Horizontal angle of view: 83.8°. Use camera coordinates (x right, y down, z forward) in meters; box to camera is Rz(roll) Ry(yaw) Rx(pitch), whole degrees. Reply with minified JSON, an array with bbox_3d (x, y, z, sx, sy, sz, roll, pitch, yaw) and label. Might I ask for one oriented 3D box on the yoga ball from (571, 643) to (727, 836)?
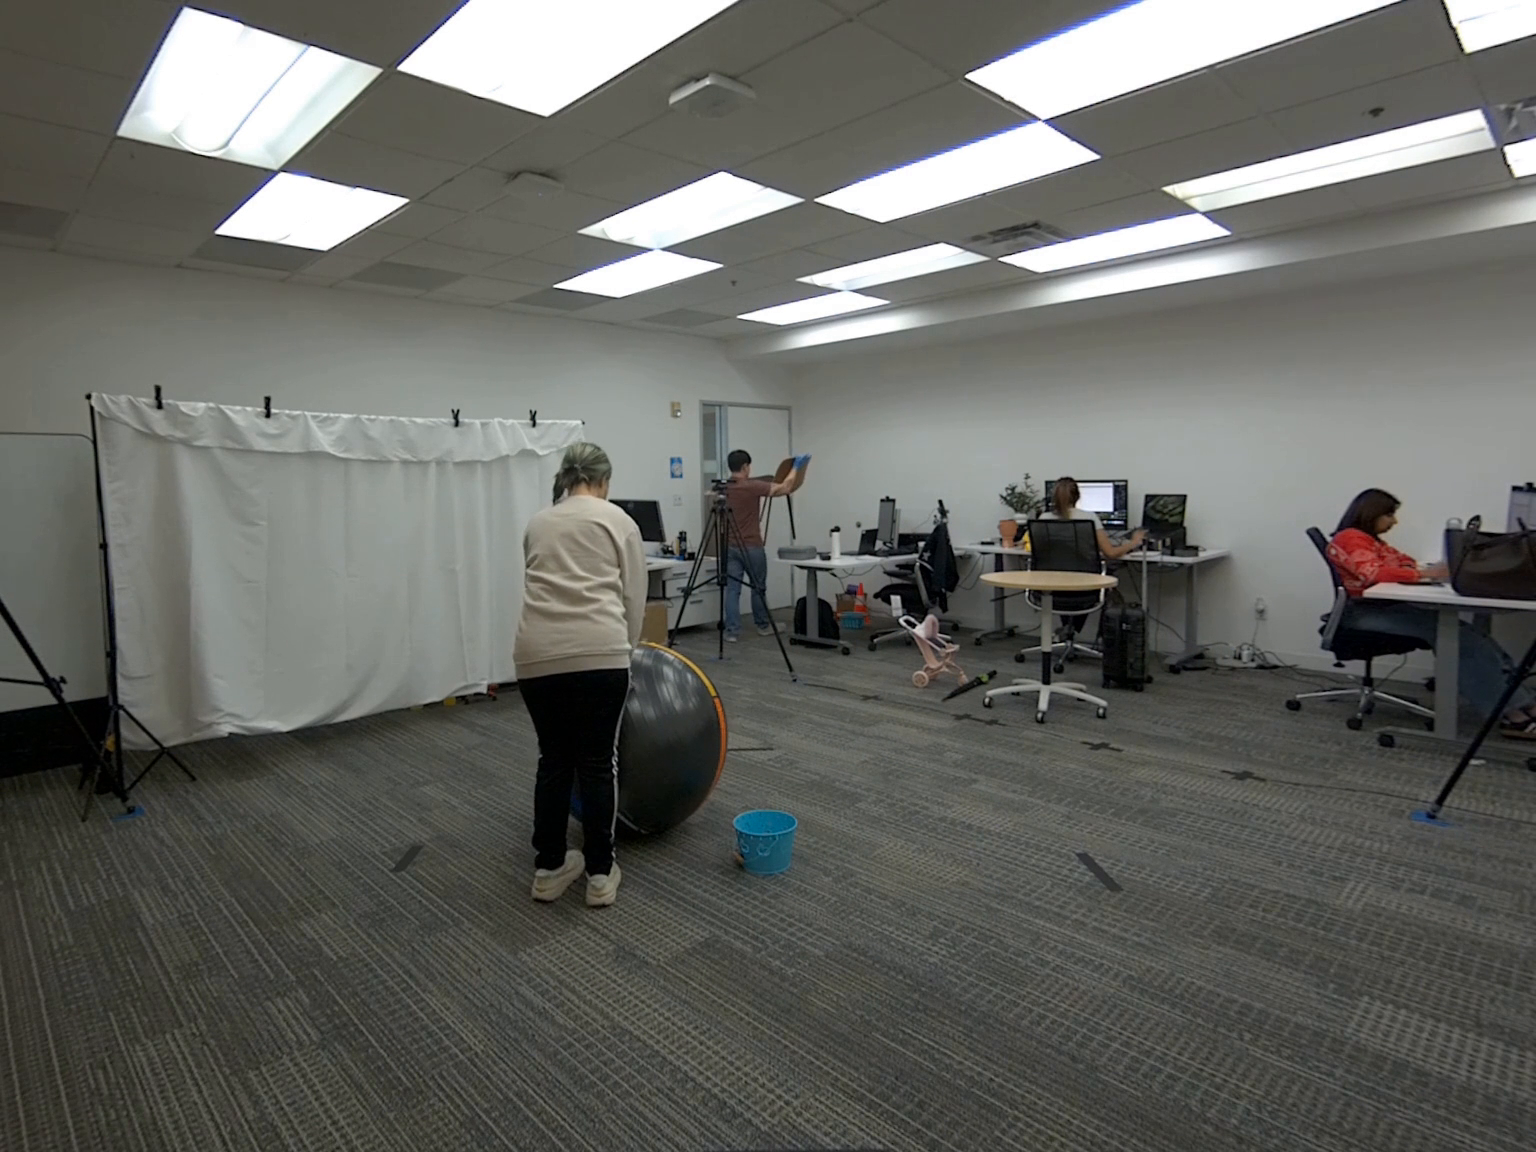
[{"bbox_3d":[-0.538,0.652,3.441,0.757,0.755,0.762,-1,5,-2],"label":"yoga ball"}]
